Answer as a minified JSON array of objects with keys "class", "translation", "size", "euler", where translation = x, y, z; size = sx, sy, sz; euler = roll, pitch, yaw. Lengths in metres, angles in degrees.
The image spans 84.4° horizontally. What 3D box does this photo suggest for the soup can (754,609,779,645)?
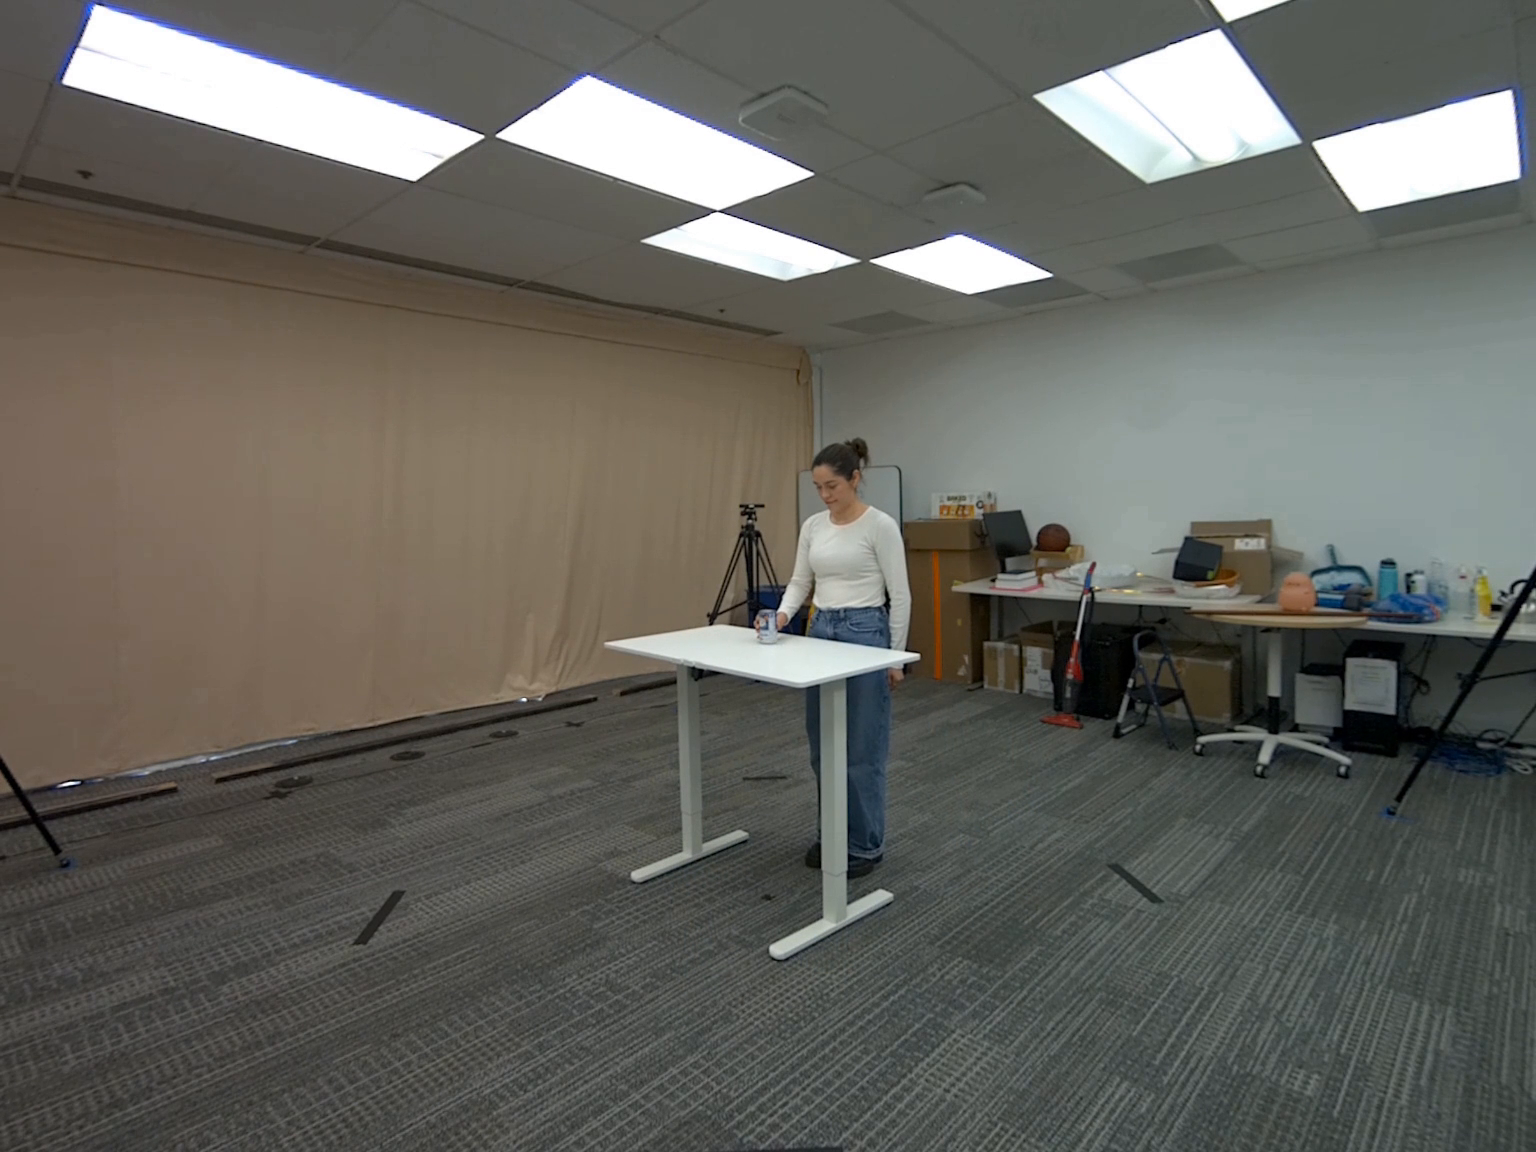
[{"class":"soup can","translation":[0.003,0.181,3.084],"size":[0.067,0.121,0.067],"euler":[-4,5,-1]}]
